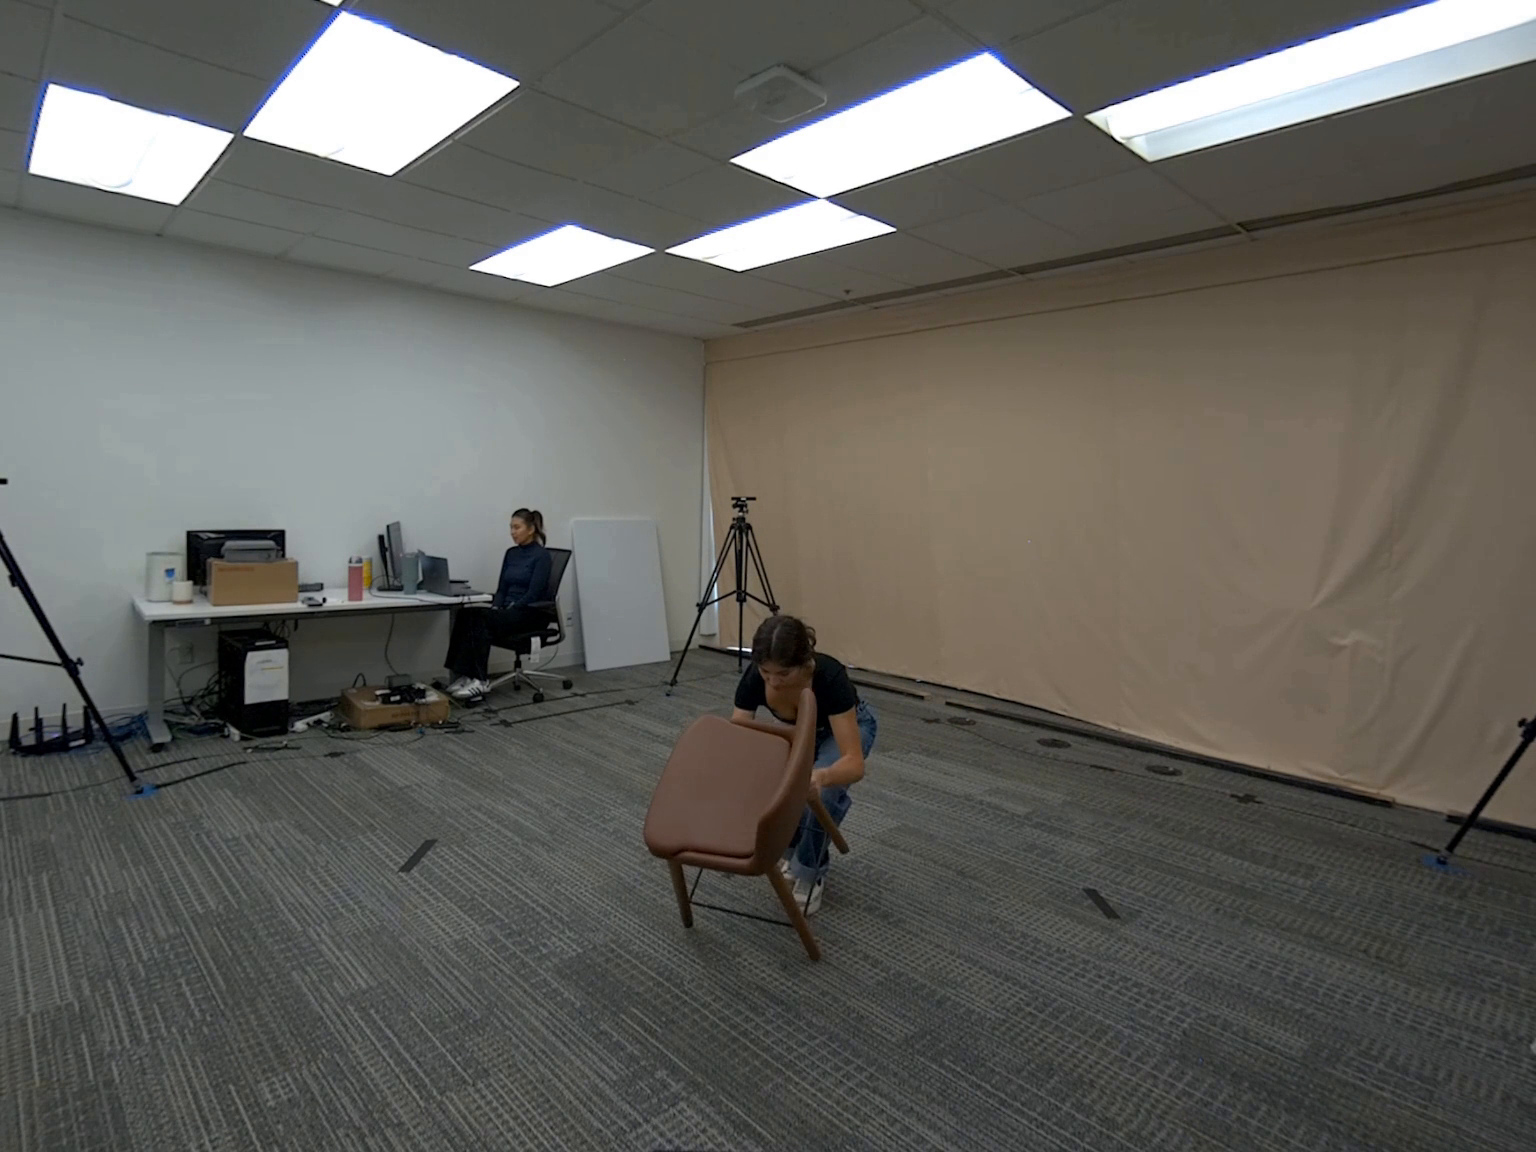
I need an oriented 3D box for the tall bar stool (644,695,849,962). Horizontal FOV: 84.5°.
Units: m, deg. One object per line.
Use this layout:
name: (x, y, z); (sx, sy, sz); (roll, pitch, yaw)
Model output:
tall bar stool: (-0.075, 0.706, 2.449); (0.476, 0.865, 0.461); (7, 48, 20)
